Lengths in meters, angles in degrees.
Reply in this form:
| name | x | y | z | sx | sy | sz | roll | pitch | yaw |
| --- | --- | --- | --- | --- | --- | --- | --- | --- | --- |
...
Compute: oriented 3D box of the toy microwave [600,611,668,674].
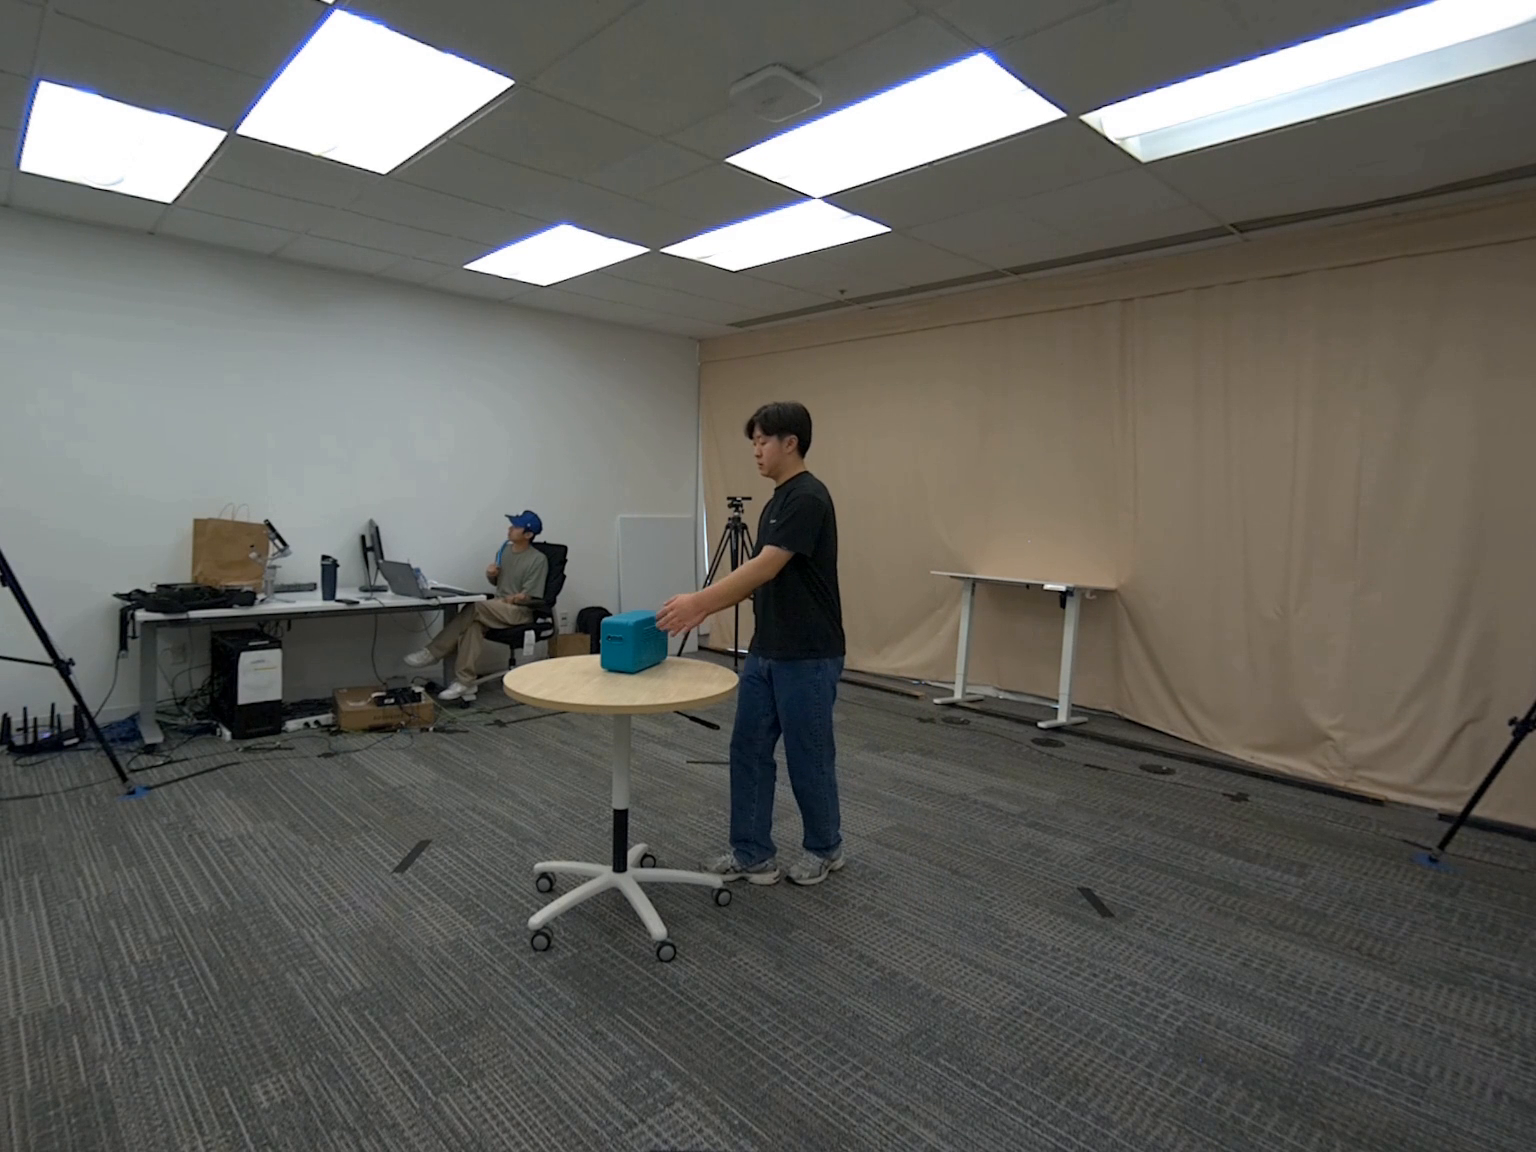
| name | x | y | z | sx | sy | sz | roll | pitch | yaw |
| --- | --- | --- | --- | --- | --- | --- | --- | --- | --- |
| toy microwave | -0.469 | 0.223 | 2.938 | 0.155 | 0.183 | 0.283 | 4 | 5 | 18 |
